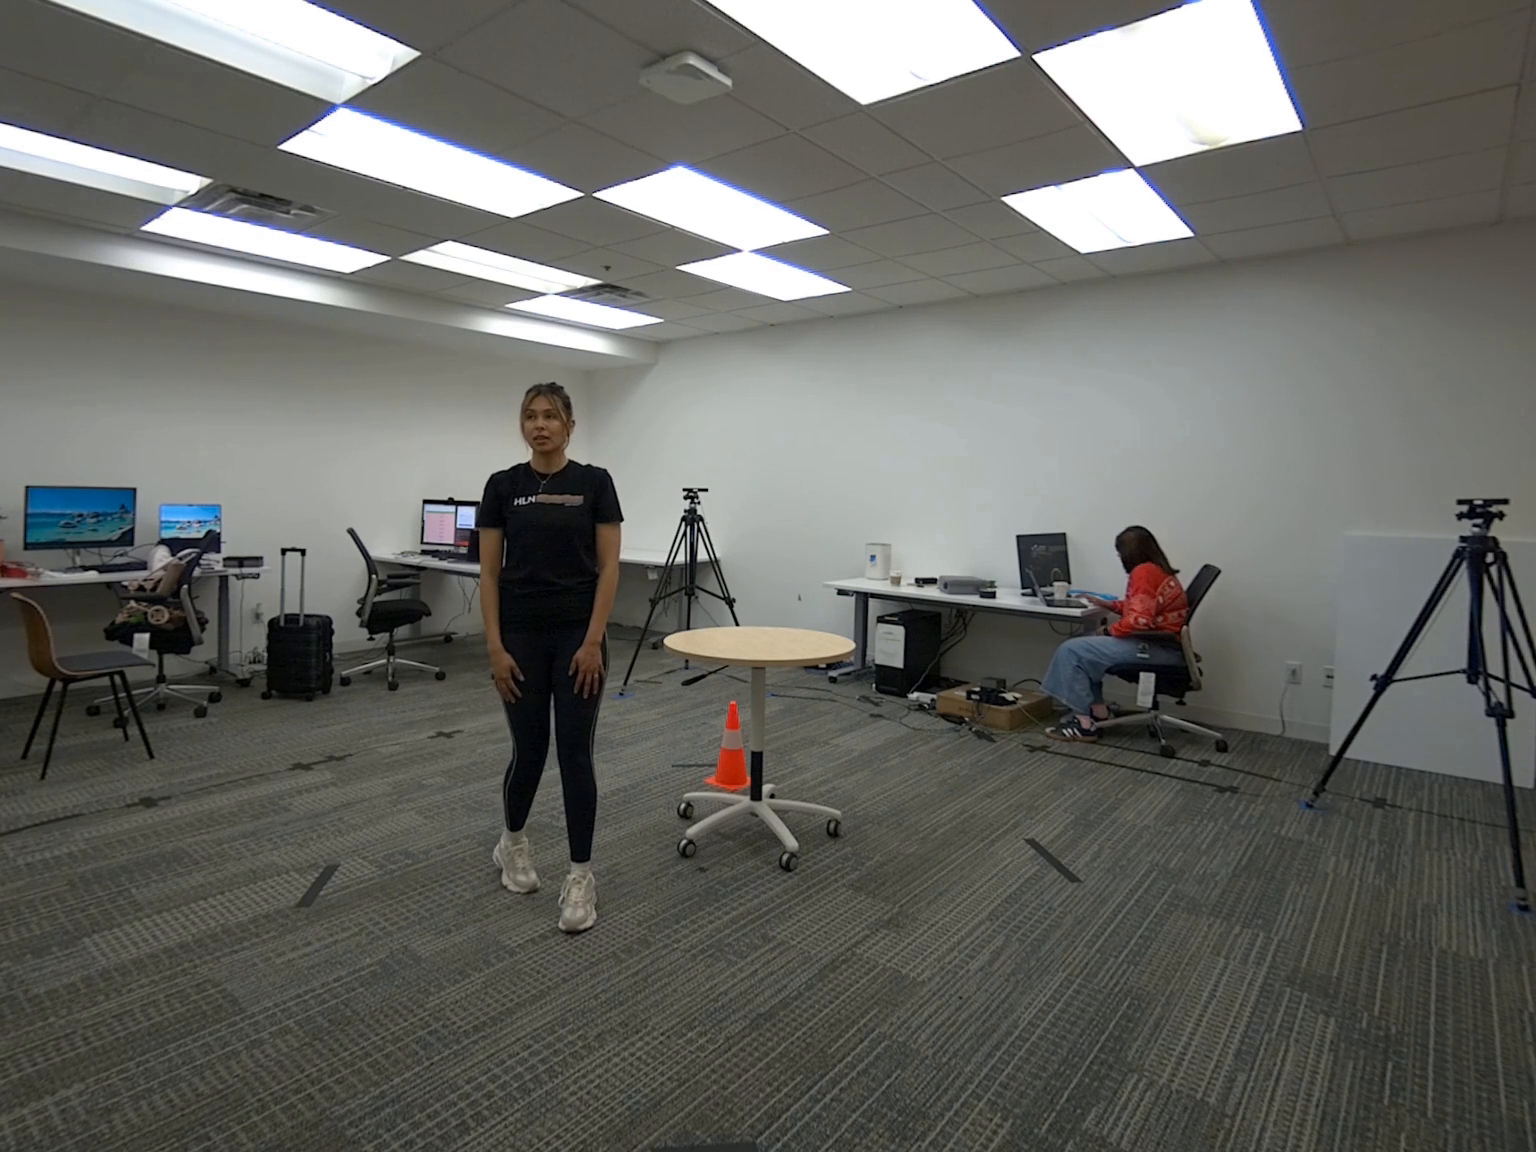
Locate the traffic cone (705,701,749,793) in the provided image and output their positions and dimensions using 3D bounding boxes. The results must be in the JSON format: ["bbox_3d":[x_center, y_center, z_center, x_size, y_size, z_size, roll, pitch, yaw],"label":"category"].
[{"bbox_3d":[-0.187,0.793,4.073,0.197,0.383,0.212,0,3,-40],"label":"traffic cone"}]
